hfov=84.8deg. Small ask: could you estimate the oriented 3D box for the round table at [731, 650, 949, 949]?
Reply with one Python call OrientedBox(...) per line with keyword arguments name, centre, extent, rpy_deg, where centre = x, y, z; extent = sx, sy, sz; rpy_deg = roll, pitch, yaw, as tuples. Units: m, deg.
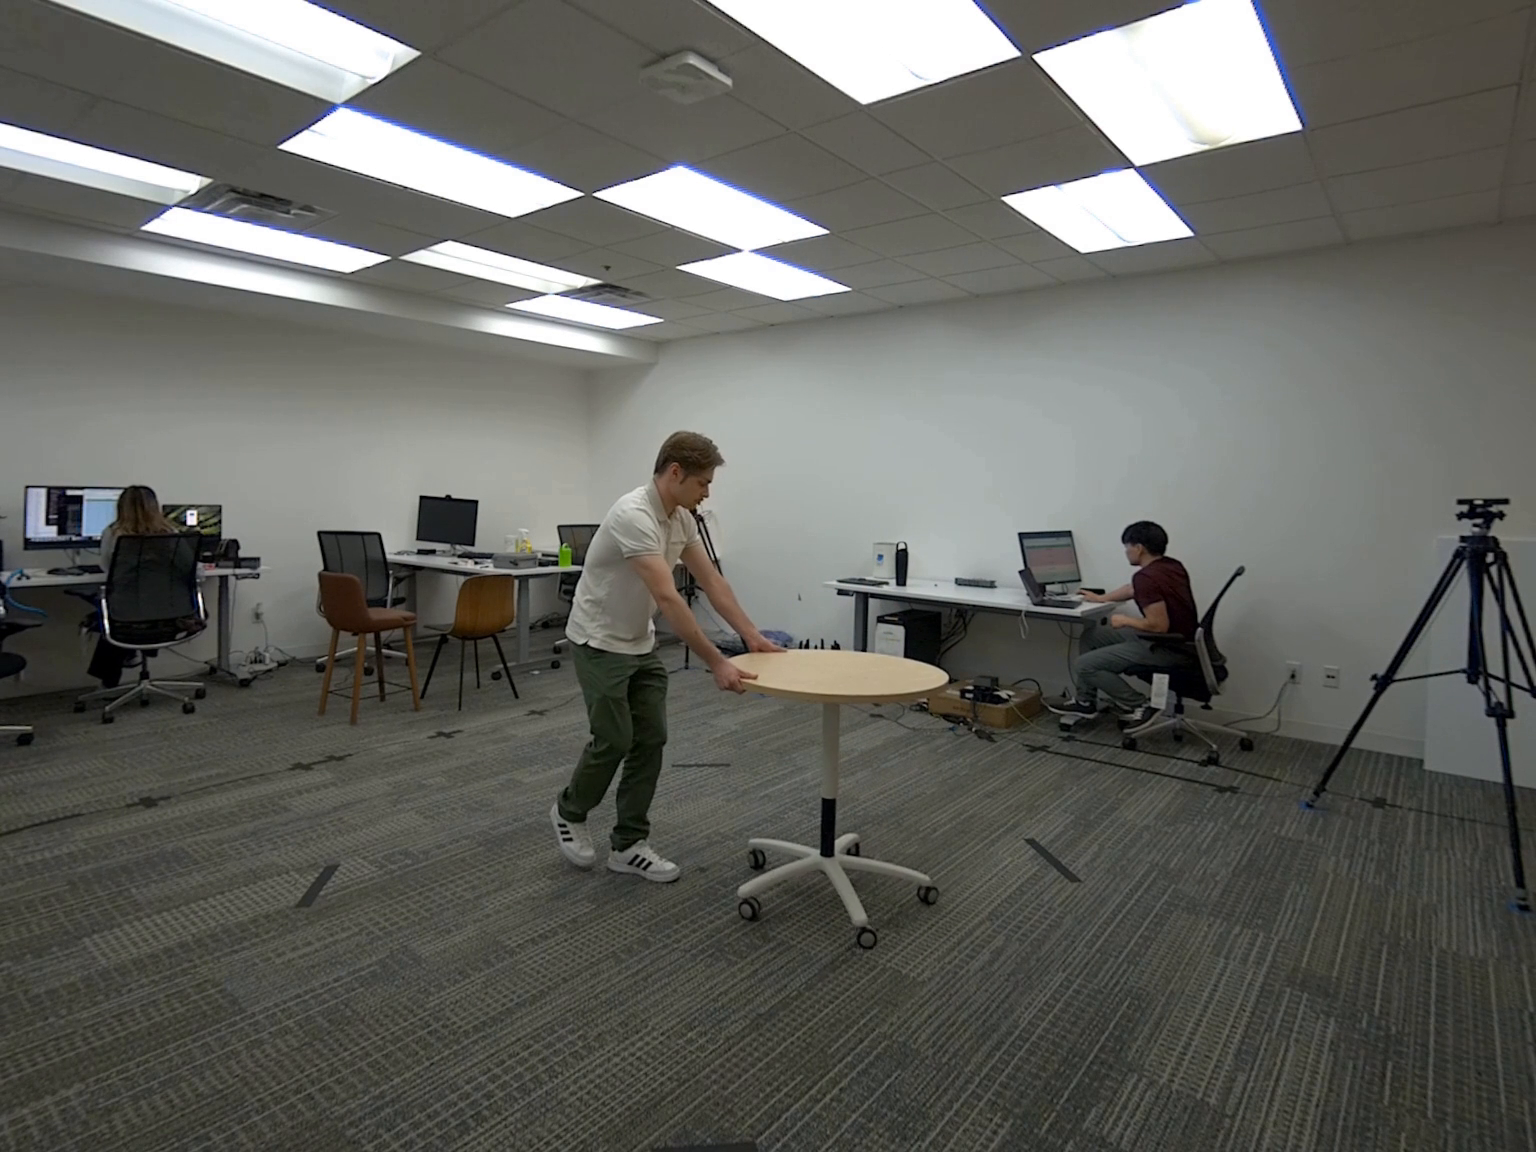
OrientedBox(name="round table", centre=(0.189, 0.704, 2.916), extent=(0.784, 0.784, 0.788), rpy_deg=(2, 4, -2))
